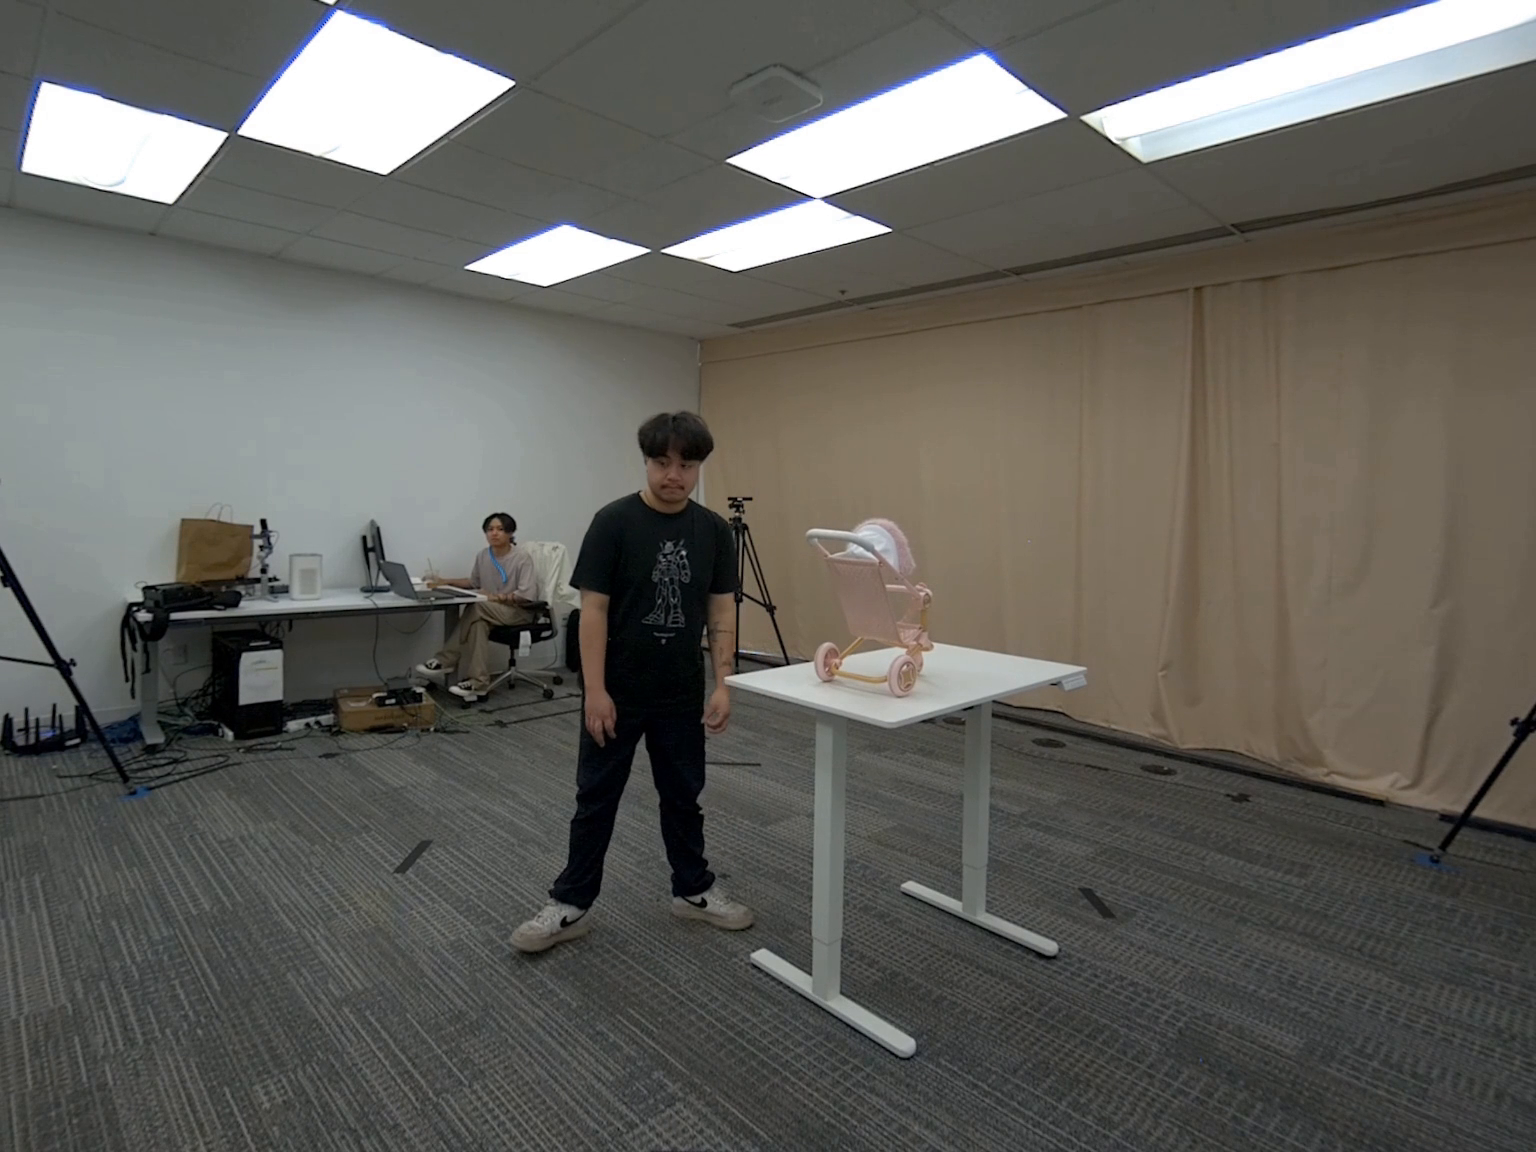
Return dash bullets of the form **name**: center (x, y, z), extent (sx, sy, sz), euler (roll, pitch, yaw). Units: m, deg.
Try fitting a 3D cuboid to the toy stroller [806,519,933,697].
- **toy stroller**: center (0.308, 0.082, 2.337), extent (0.336, 0.529, 0.289), euler (-22, 18, -39)
